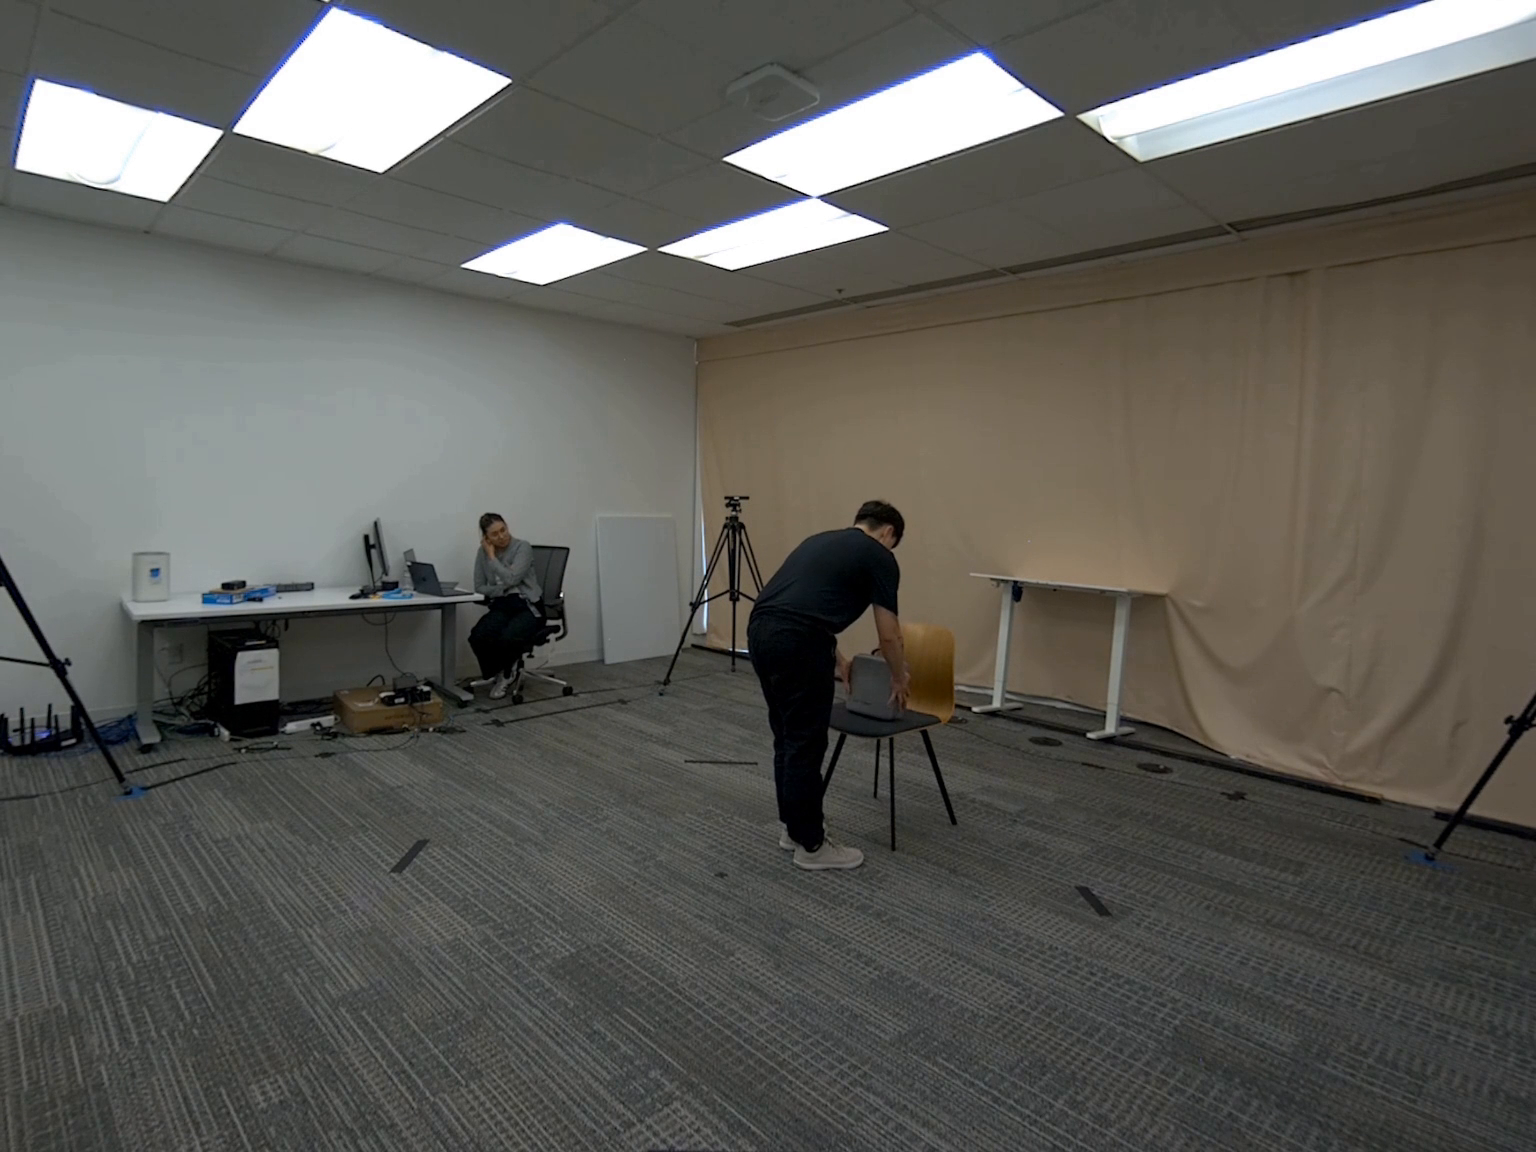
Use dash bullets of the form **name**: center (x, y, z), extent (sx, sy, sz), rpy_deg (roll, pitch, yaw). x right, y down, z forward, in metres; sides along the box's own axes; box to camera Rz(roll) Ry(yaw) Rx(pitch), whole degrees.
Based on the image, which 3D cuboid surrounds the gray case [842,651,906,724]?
- **gray case**: center (0.445, 0.466, 3.582), extent (0.102, 0.261, 0.262), rpy_deg (7, -3, -30)
